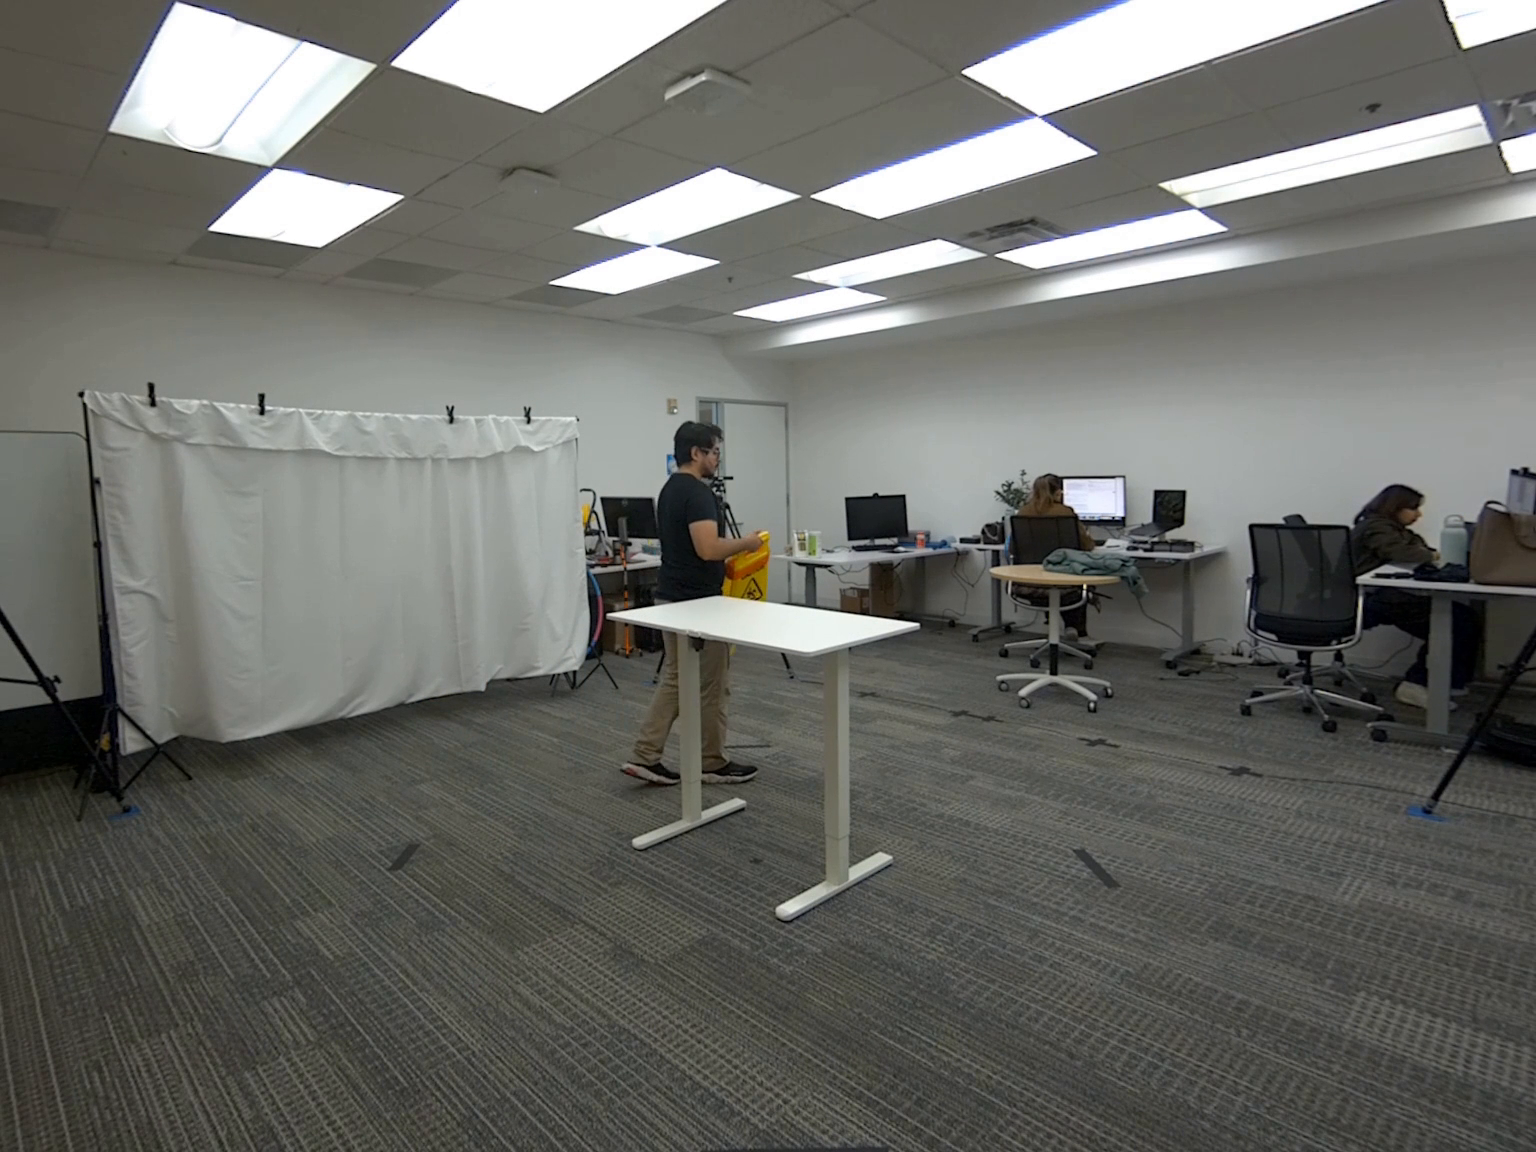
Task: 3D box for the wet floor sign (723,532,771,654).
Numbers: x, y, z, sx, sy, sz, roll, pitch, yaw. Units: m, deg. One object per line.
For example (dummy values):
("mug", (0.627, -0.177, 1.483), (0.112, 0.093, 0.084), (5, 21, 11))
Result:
("wet floor sign", (-0.134, 0.047, 4.091), (0.279, 0.635, 0.298), (-28, 62, -34))
